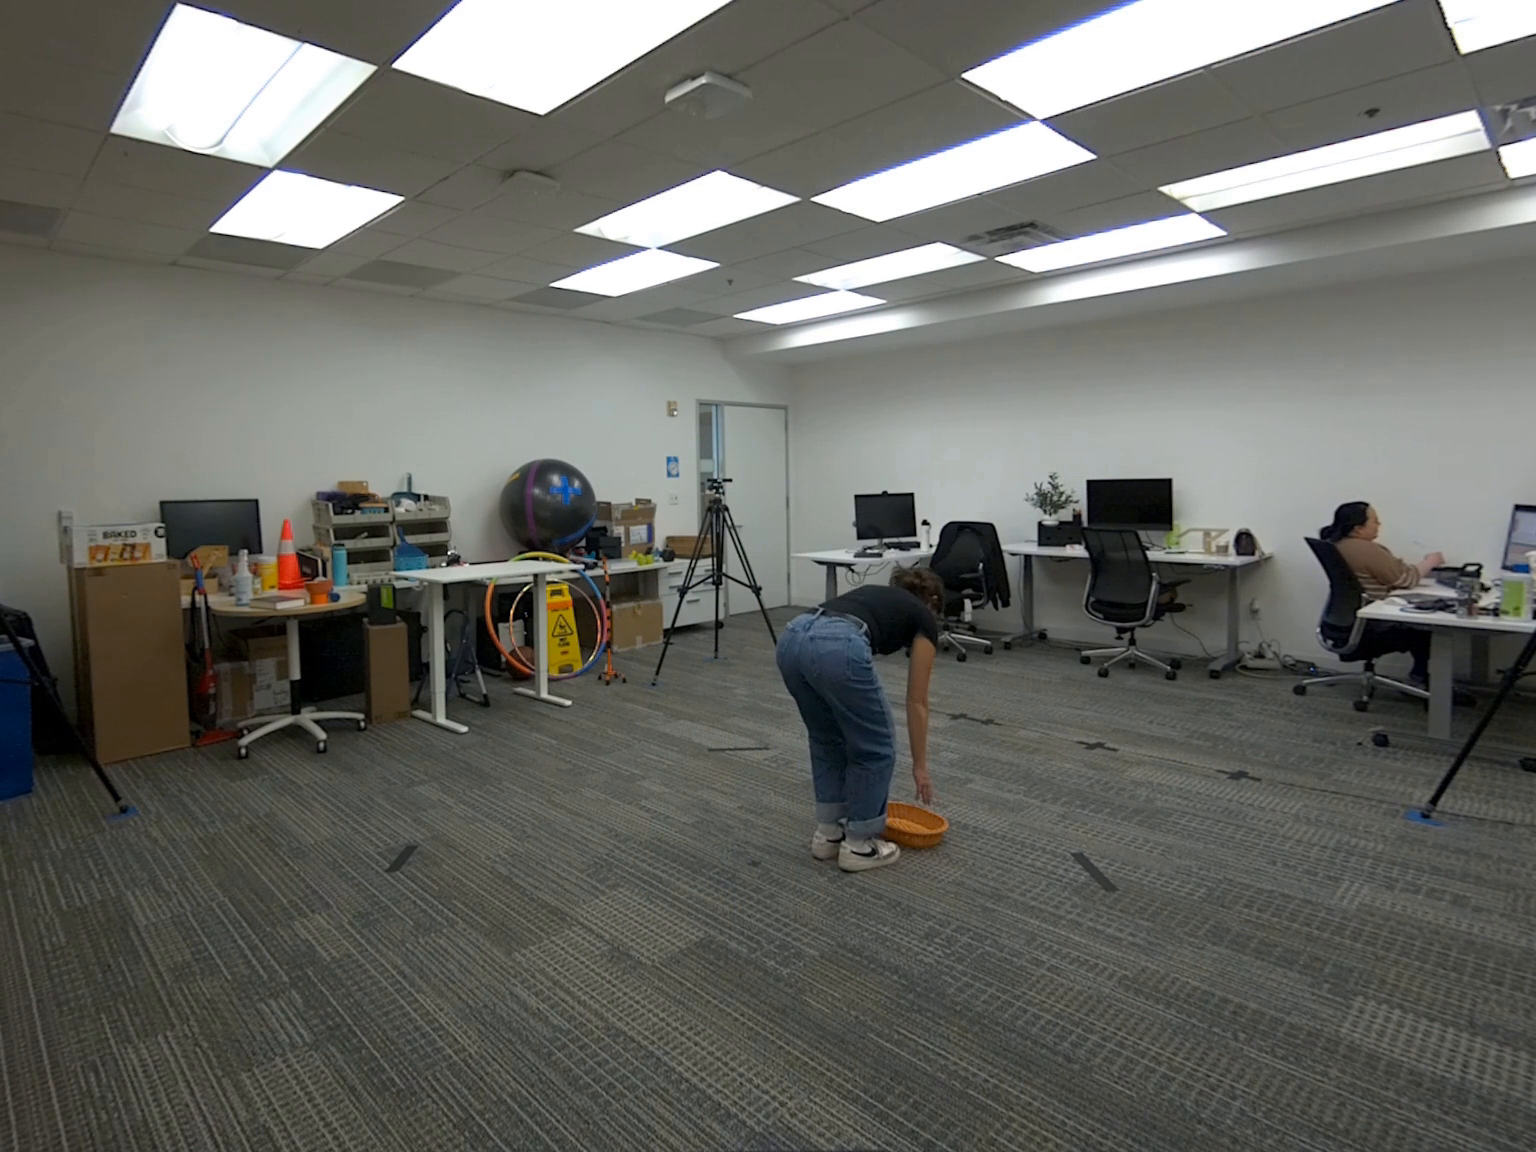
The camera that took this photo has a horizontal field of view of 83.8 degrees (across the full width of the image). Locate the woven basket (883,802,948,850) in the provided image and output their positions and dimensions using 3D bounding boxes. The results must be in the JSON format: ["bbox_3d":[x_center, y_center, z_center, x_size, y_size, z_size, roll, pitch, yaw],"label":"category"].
[{"bbox_3d":[0.533,0.966,3.335,0.246,0.073,0.360,-4,6,-33],"label":"woven basket"}]
